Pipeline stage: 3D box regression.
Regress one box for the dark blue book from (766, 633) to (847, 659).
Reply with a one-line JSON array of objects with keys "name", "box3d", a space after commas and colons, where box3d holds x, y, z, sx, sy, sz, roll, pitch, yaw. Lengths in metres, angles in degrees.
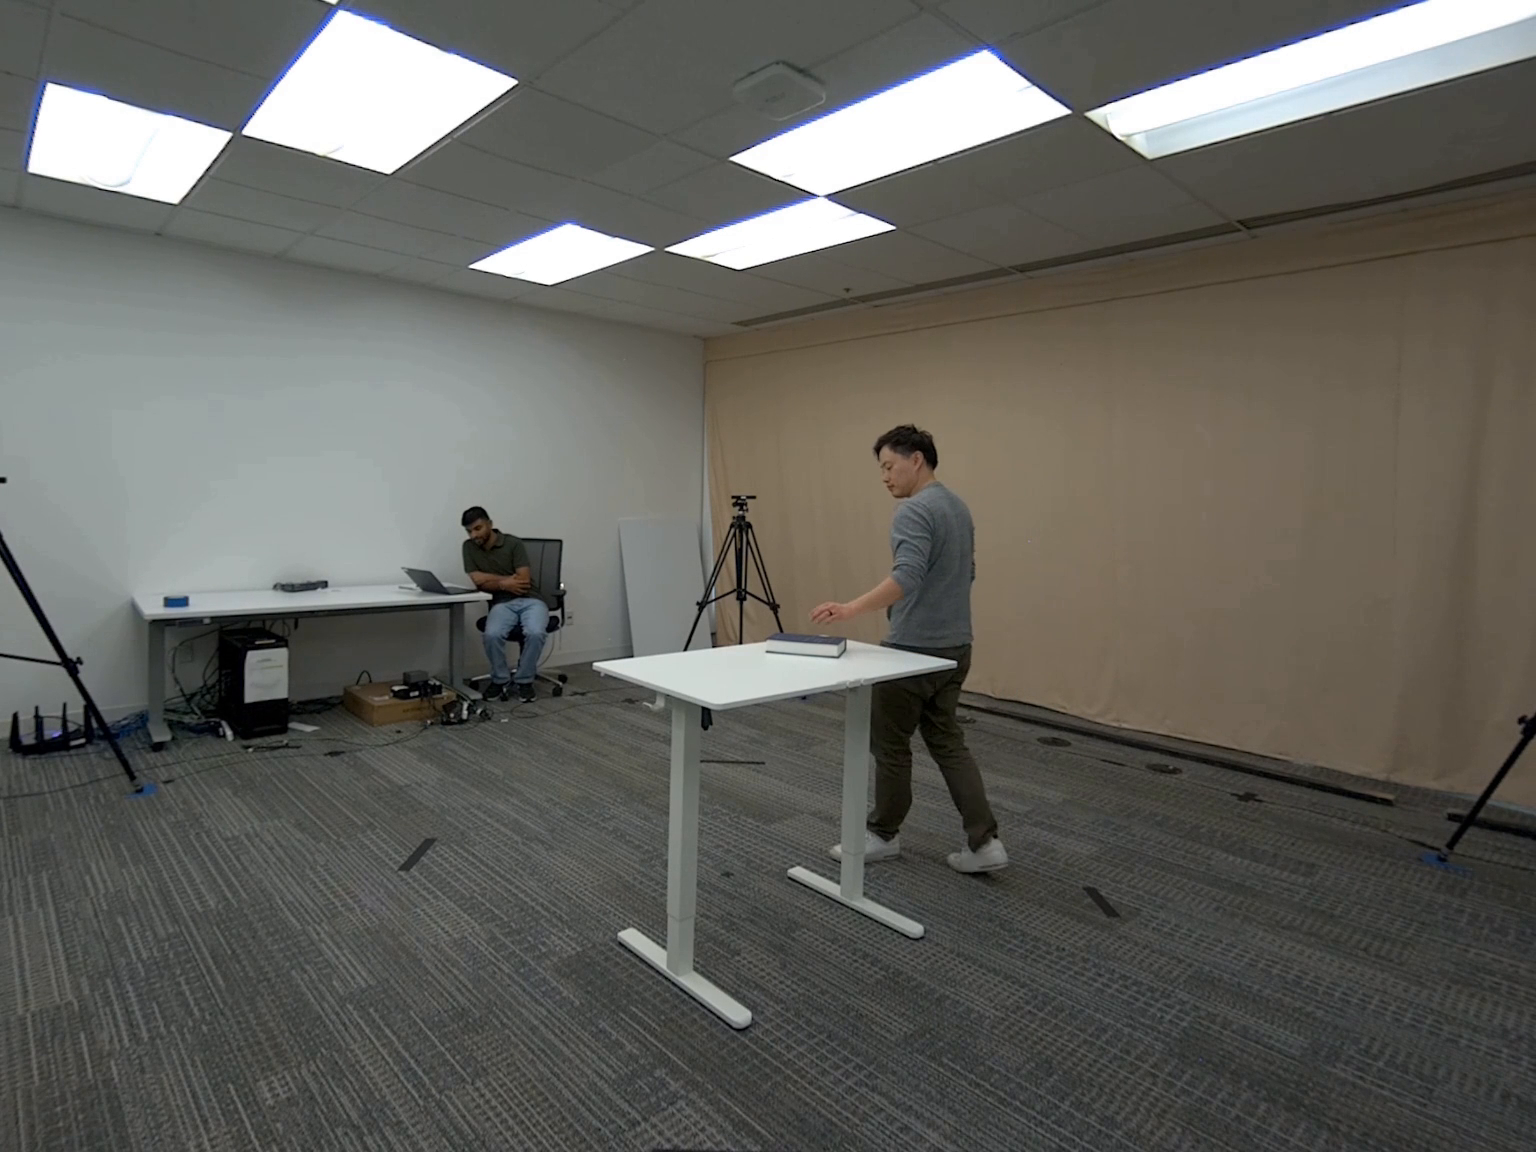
[{"name": "dark blue book", "box3d": [0.130, 0.232, 2.818, 0.249, 0.045, 0.161, 4, 4, 17]}]
